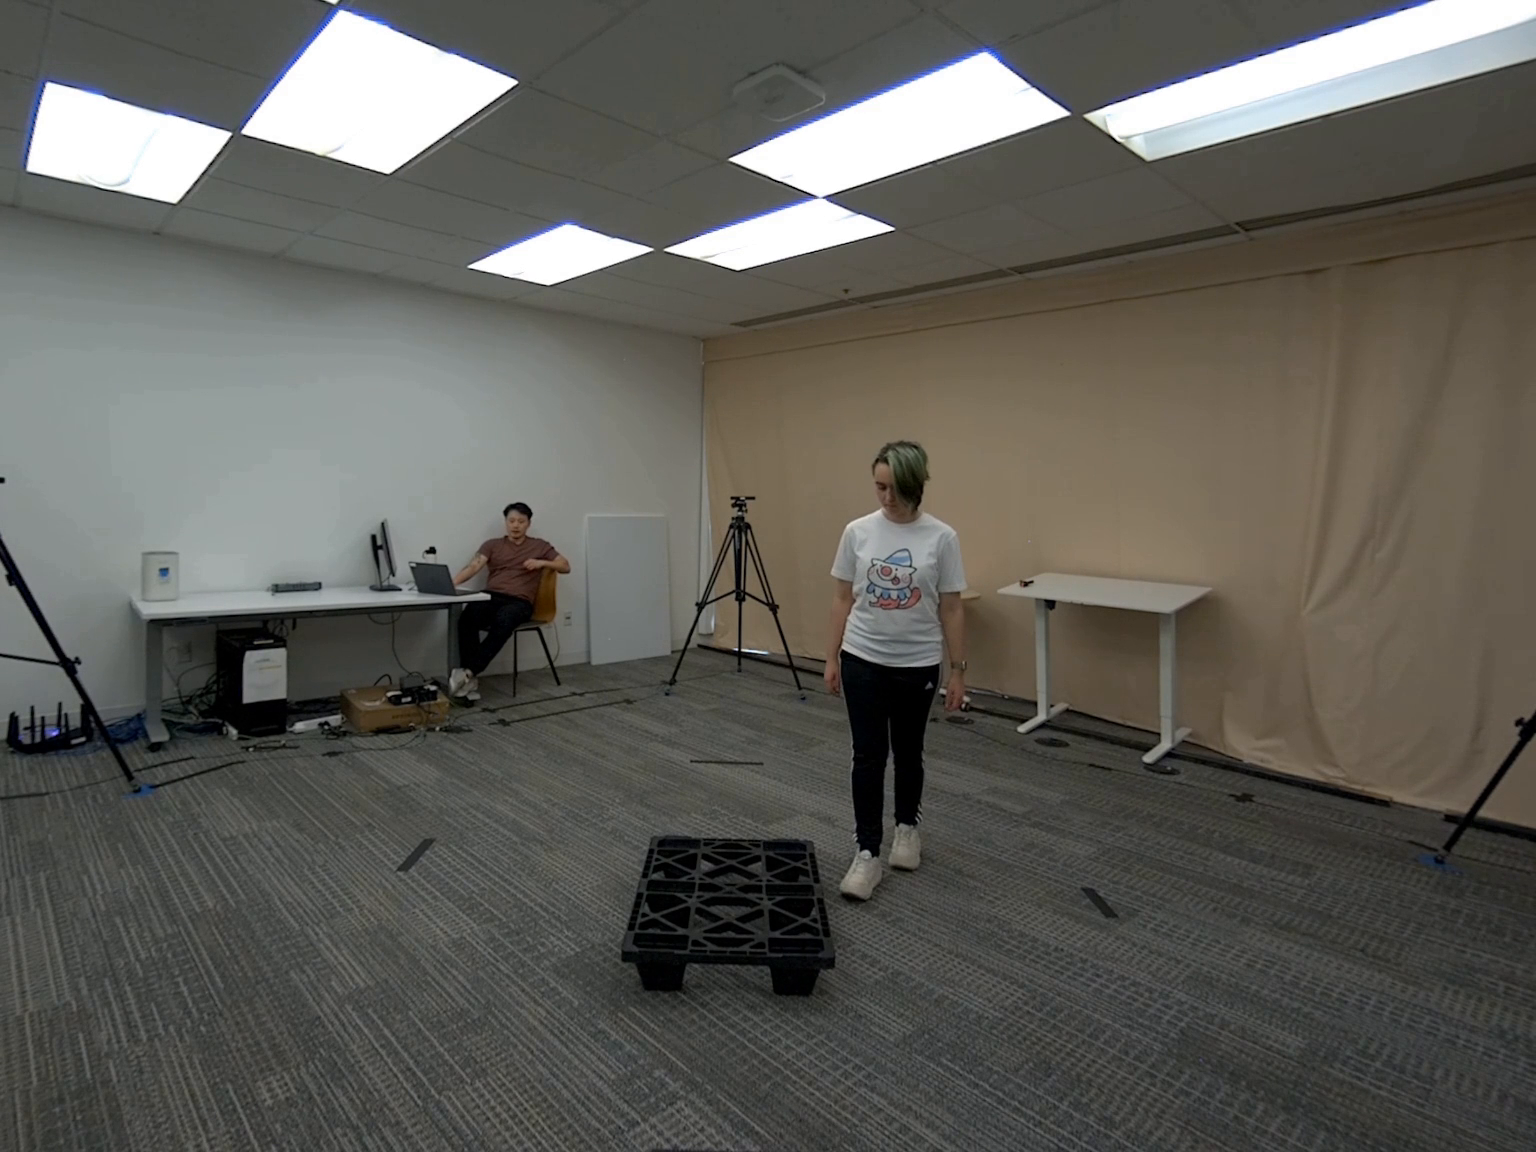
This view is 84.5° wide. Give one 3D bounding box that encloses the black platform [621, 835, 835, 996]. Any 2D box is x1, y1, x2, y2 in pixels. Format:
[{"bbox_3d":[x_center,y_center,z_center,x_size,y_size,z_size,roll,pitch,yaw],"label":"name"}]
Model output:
[{"bbox_3d":[-0.127,1.071,2.723,0.605,0.143,0.808,2,5,-1],"label":"black platform"}]
